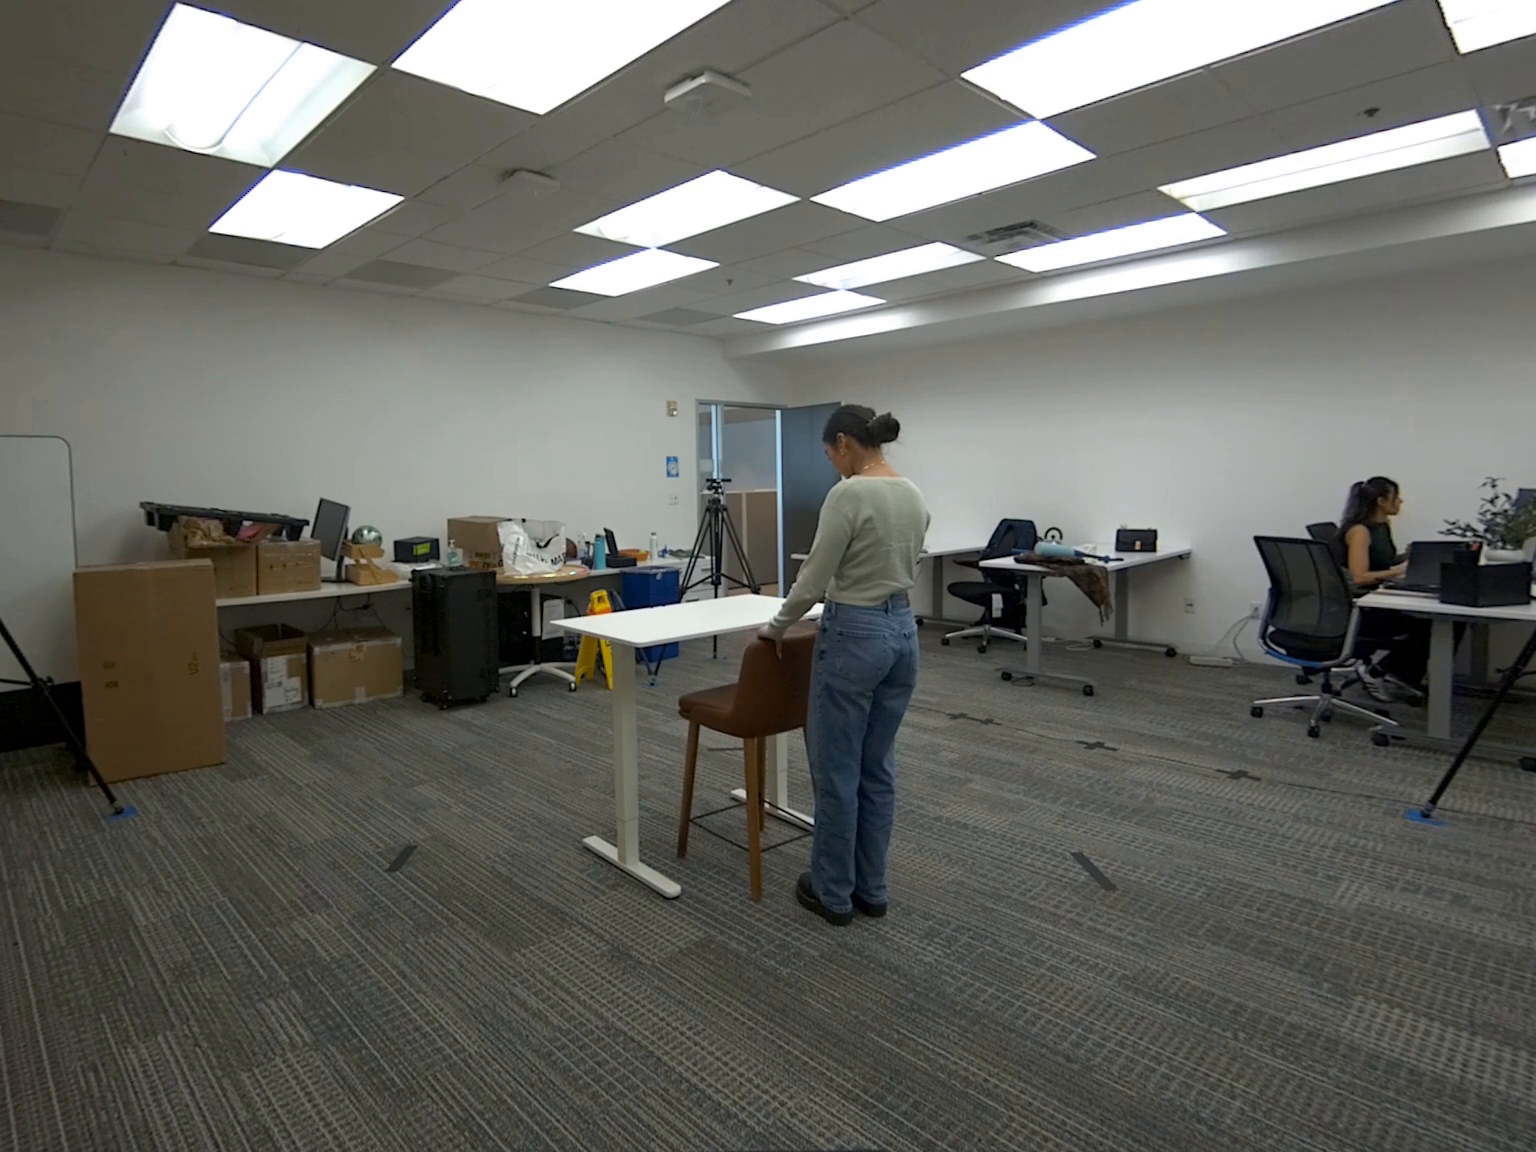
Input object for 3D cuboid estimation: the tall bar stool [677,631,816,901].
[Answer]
[{"bbox_3d":[-0.034,0.608,3.073,0.444,0.885,0.482,-3,7,-38],"label":"tall bar stool"}]
